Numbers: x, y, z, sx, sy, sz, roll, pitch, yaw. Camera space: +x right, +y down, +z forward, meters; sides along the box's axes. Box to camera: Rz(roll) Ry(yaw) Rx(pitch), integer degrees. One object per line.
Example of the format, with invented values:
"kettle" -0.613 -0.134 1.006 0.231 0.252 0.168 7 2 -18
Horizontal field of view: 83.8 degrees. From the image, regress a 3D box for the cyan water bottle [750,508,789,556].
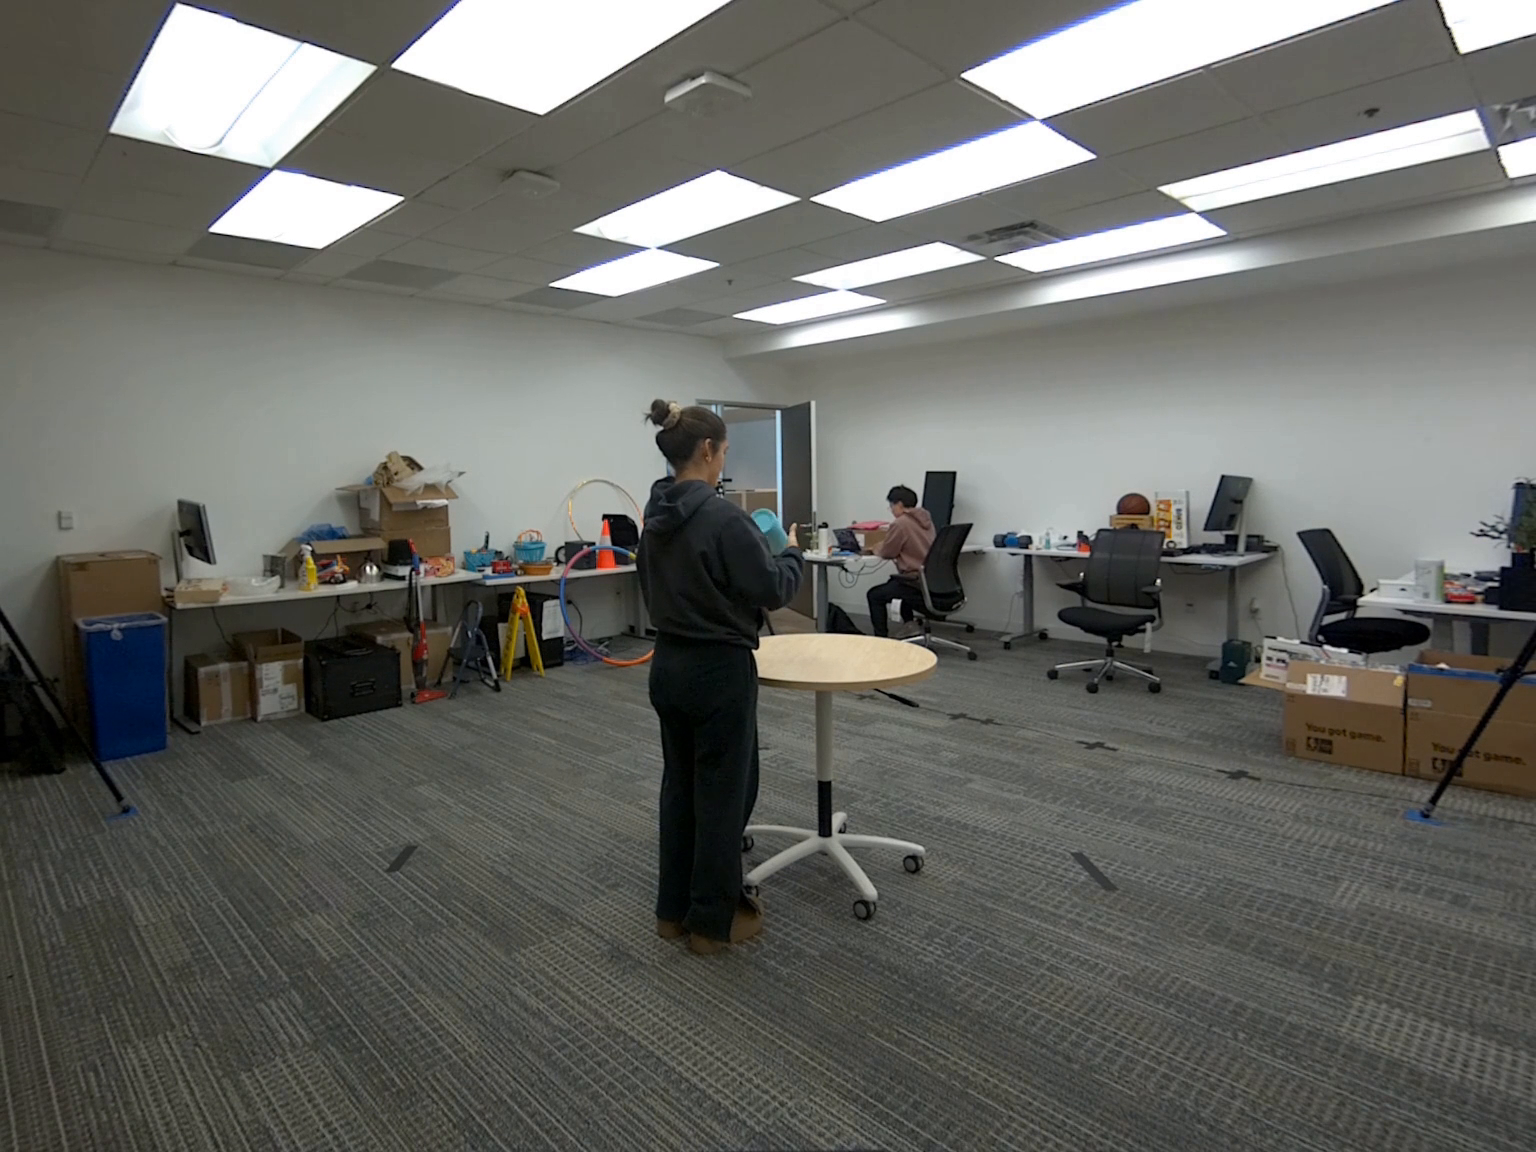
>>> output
"cyan water bottle" 0.022 -0.110 2.753 0.094 0.094 0.273 1 -27 17
